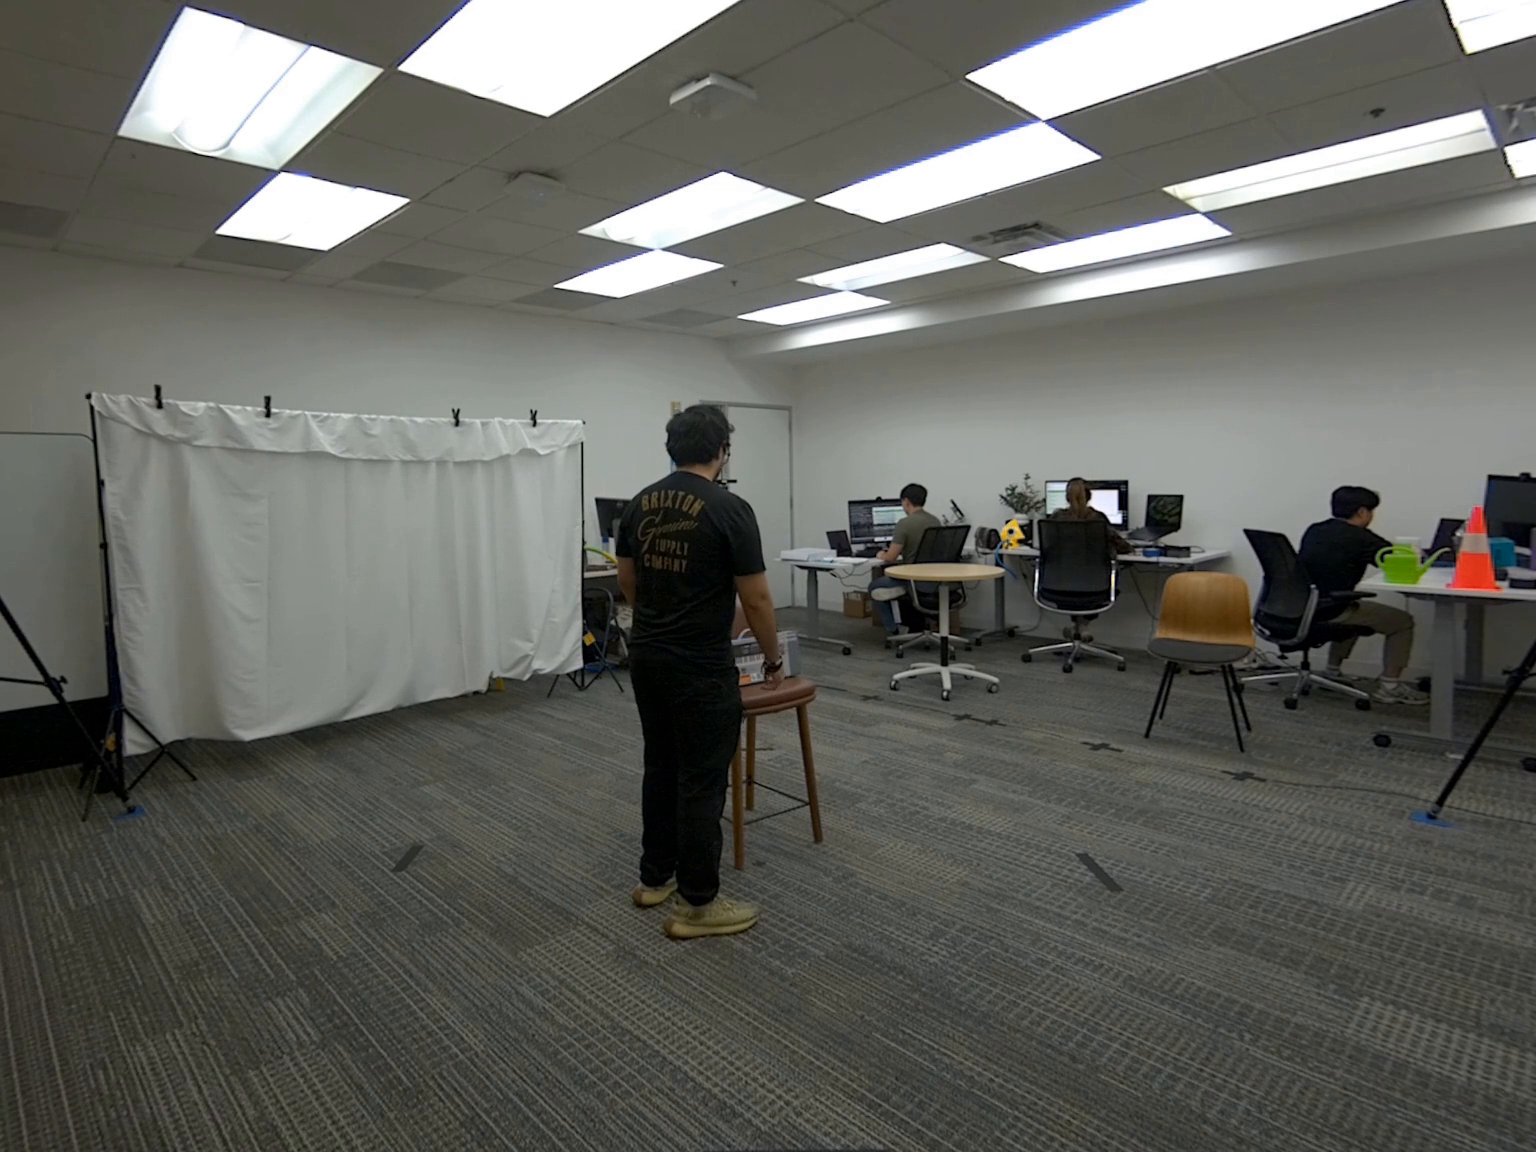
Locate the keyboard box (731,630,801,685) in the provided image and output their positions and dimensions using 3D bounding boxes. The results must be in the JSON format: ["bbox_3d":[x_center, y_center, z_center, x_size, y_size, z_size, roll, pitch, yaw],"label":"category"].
[{"bbox_3d":[-0.063,0.325,3.300,0.426,0.176,0.060,-6,-2,-36],"label":"keyboard box"}]
